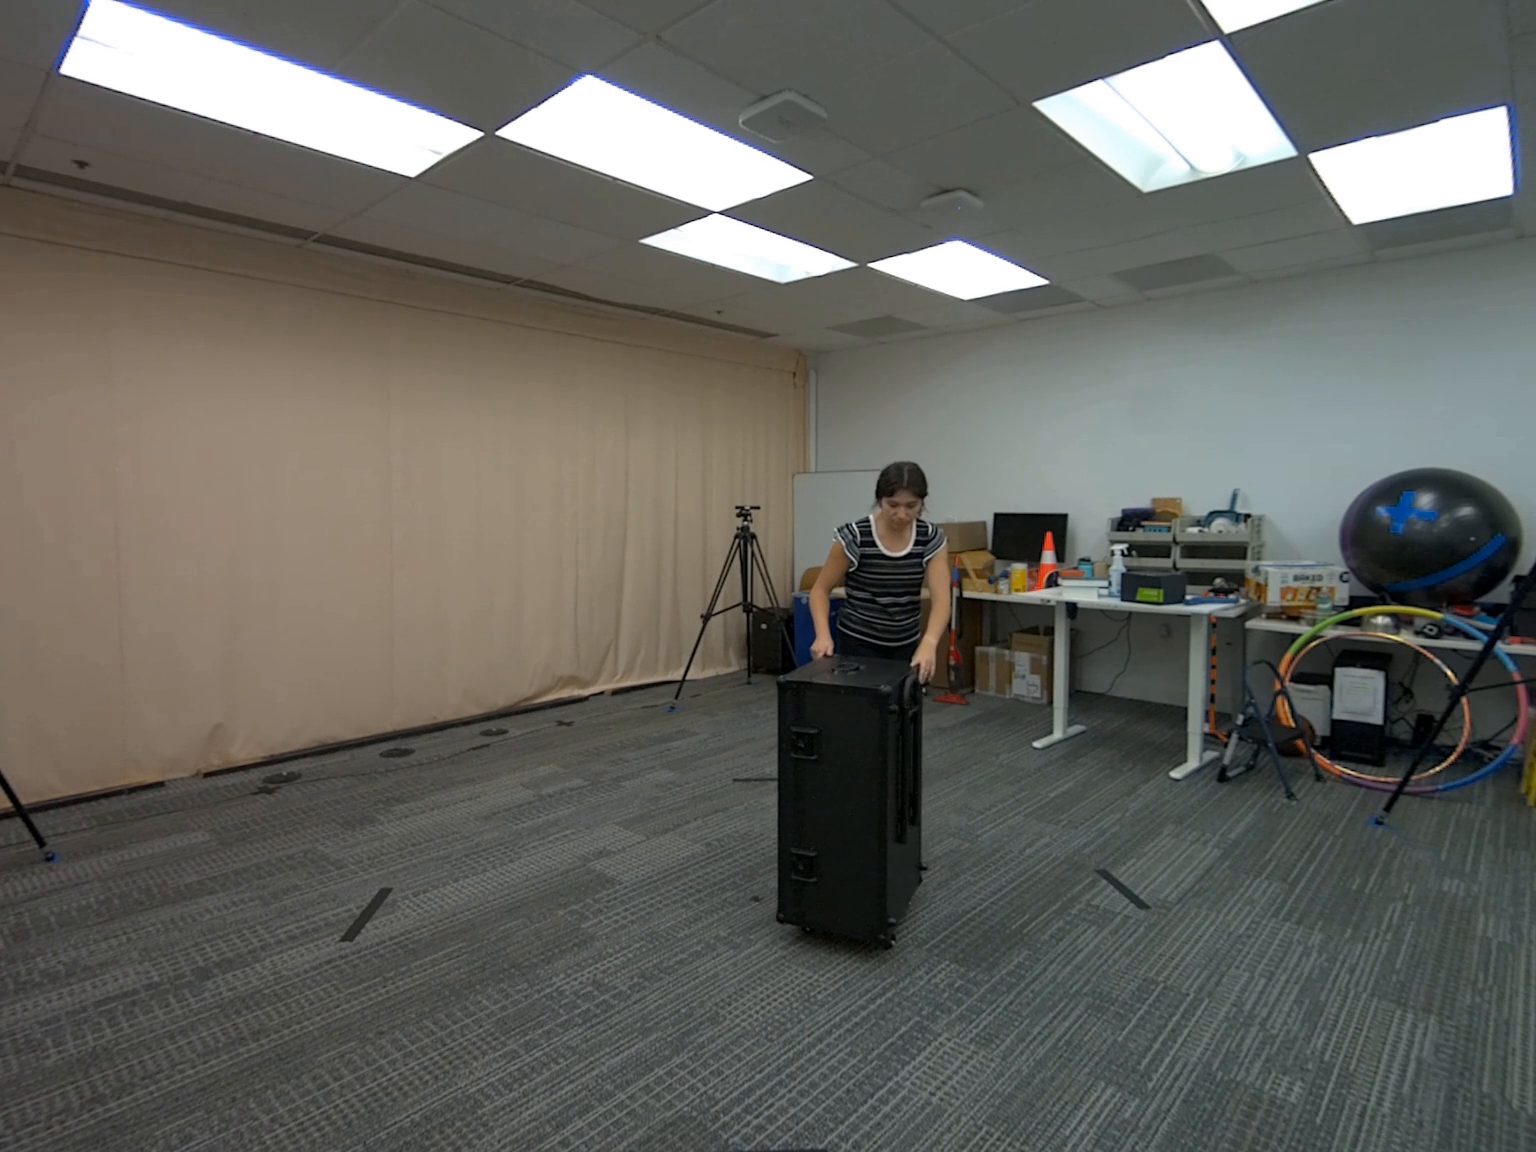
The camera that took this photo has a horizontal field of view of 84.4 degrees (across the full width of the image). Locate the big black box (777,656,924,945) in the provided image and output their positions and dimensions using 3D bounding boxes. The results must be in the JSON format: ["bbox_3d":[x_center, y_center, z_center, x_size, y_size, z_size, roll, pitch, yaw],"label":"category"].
[{"bbox_3d":[0.294,0.735,2.794,0.406,0.860,0.509,2,4,24],"label":"big black box"}]
